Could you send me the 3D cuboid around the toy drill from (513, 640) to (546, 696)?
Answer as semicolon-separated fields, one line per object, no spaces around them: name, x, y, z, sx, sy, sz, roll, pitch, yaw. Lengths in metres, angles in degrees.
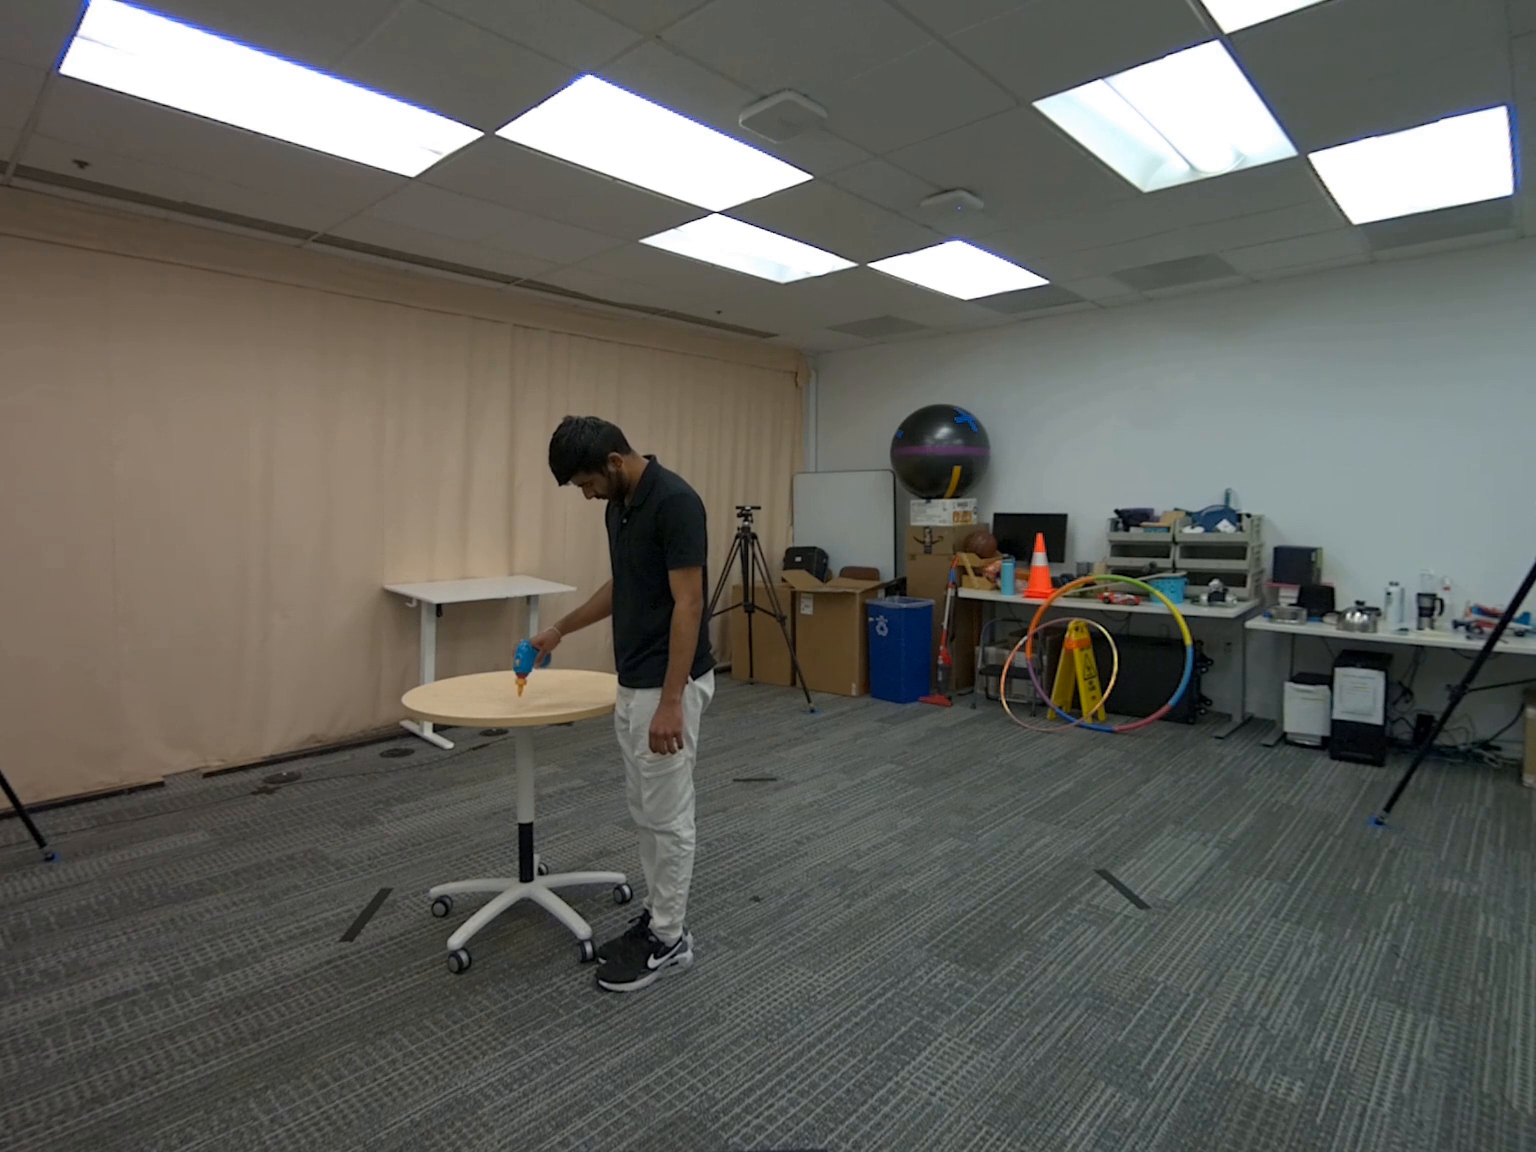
toy drill;-0.723;0.286;2.580;0.062;0.170;0.142;-2;-7;21
